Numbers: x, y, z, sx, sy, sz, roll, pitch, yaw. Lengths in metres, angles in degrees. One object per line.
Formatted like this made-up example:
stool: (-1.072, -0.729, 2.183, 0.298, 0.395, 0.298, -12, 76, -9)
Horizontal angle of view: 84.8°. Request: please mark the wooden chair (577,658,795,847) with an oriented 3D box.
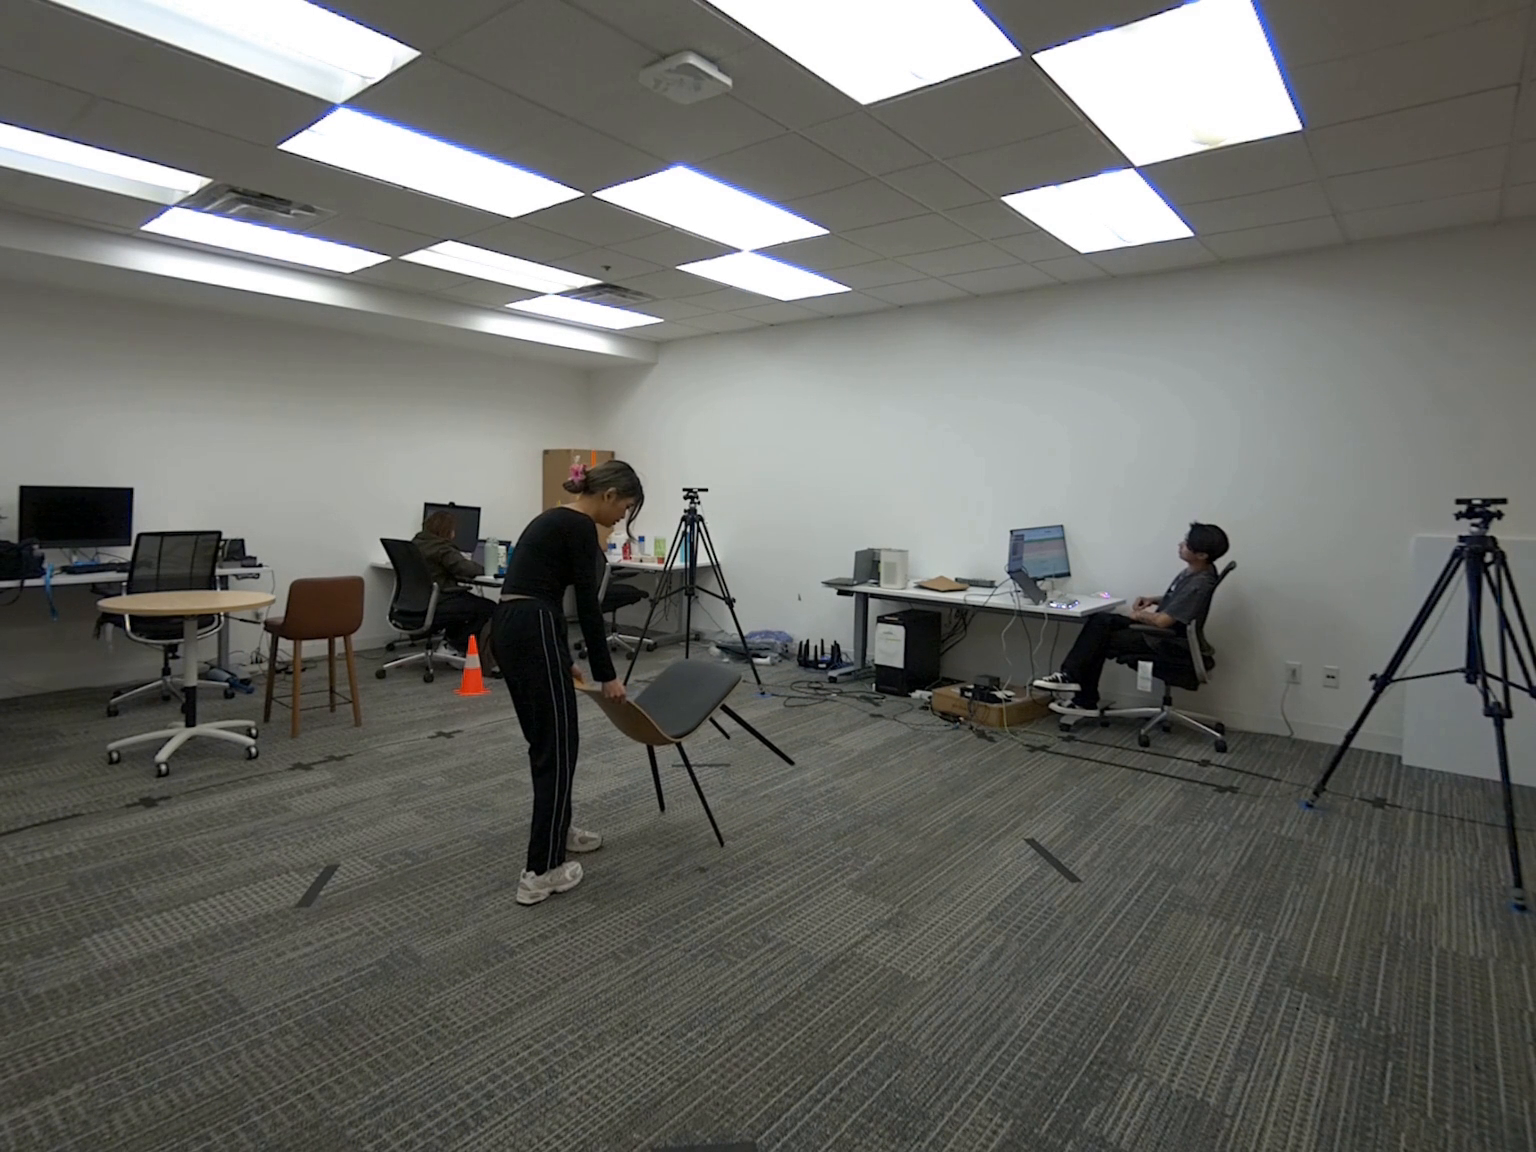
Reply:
wooden chair: (-0.370, 0.548, 3.426, 0.523, 0.850, 0.494, -47, 29, -25)
